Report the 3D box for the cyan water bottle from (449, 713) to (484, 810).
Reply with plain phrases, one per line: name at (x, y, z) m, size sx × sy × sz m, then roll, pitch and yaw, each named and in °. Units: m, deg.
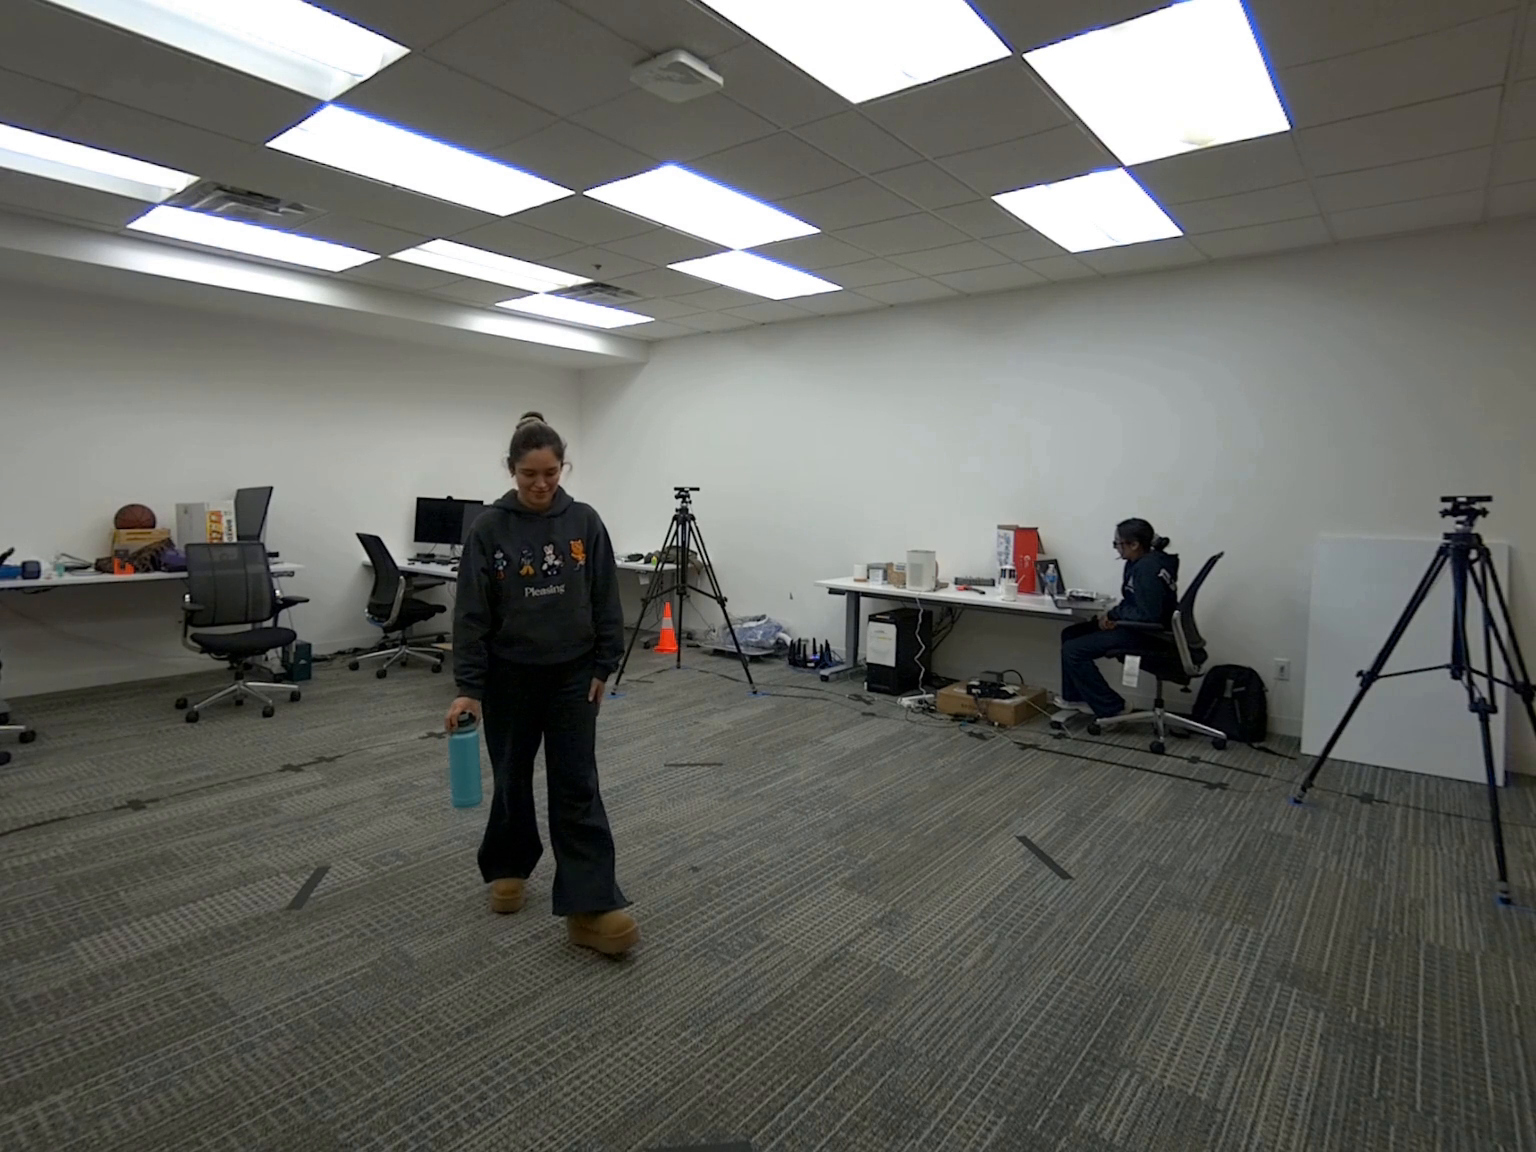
cyan water bottle at (-0.927, 0.542, 2.565) m, size 0.092 × 0.282 × 0.093 m, roll -3°, pitch 5°, yaw -2°
